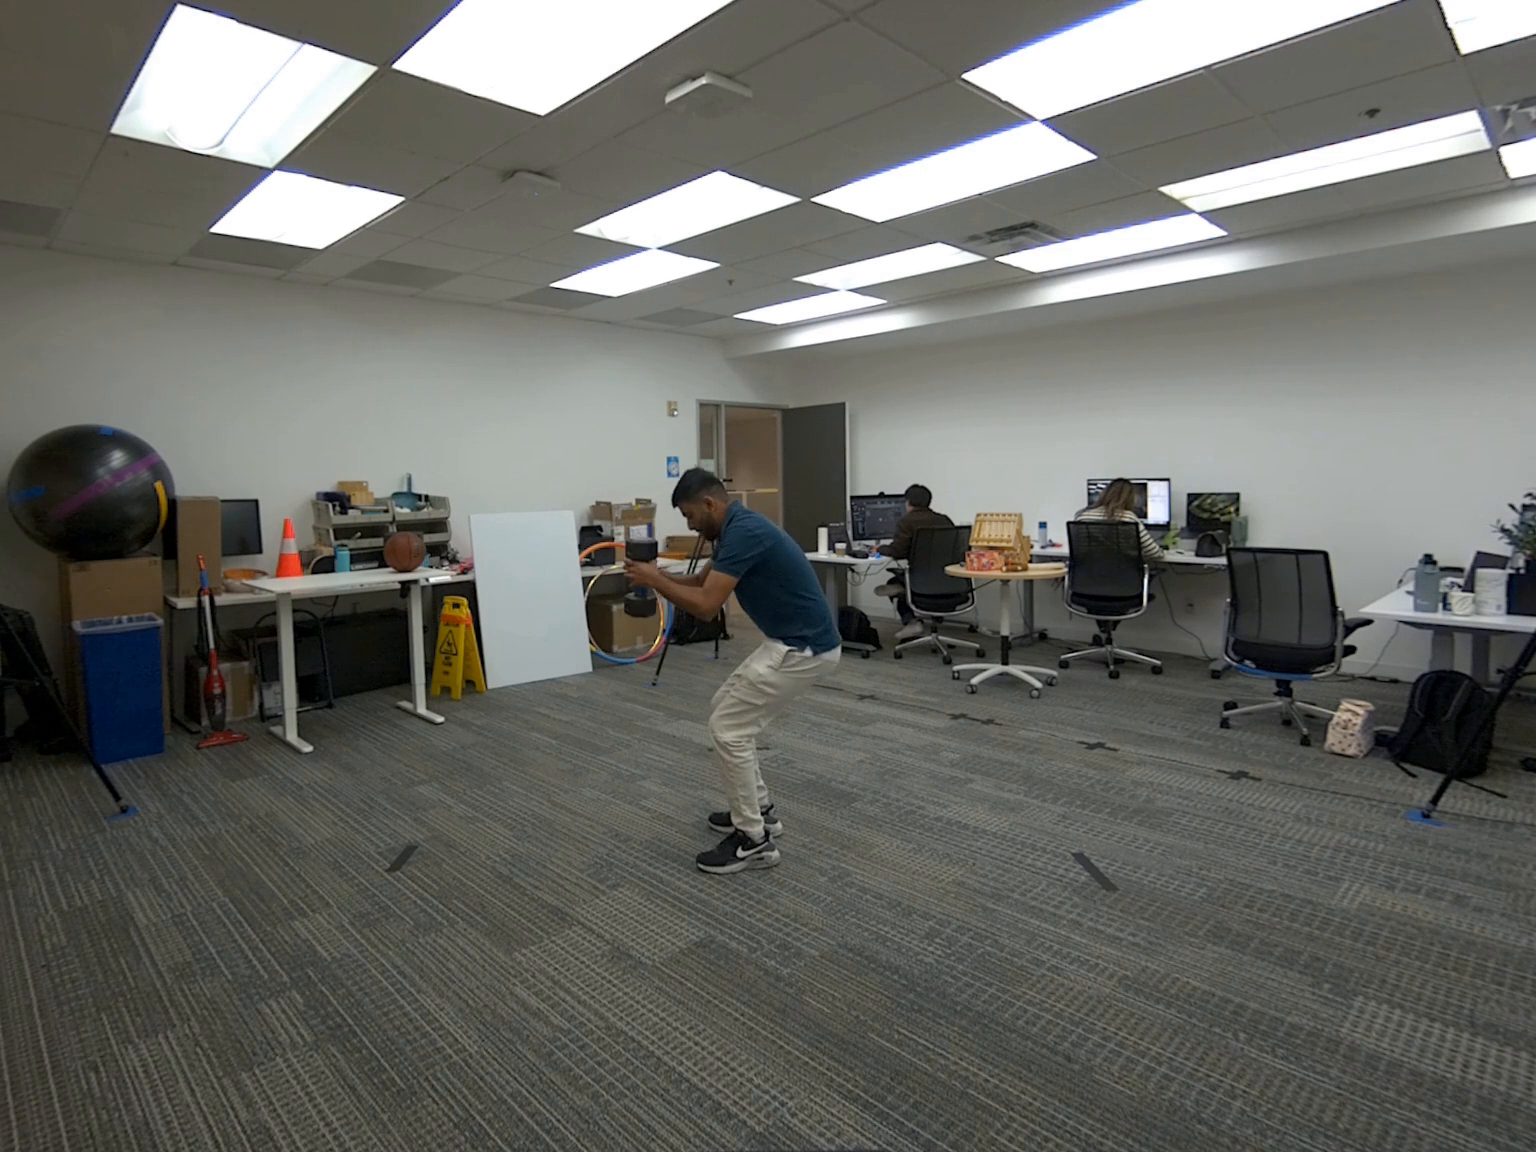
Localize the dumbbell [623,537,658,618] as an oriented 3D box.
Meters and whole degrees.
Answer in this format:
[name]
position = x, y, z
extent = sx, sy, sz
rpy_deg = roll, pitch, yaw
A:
[dumbbell]
position = -0.470, 0.002, 3.202
extent = 0.123, 0.291, 0.109
rpy_deg = 1, 7, -1
